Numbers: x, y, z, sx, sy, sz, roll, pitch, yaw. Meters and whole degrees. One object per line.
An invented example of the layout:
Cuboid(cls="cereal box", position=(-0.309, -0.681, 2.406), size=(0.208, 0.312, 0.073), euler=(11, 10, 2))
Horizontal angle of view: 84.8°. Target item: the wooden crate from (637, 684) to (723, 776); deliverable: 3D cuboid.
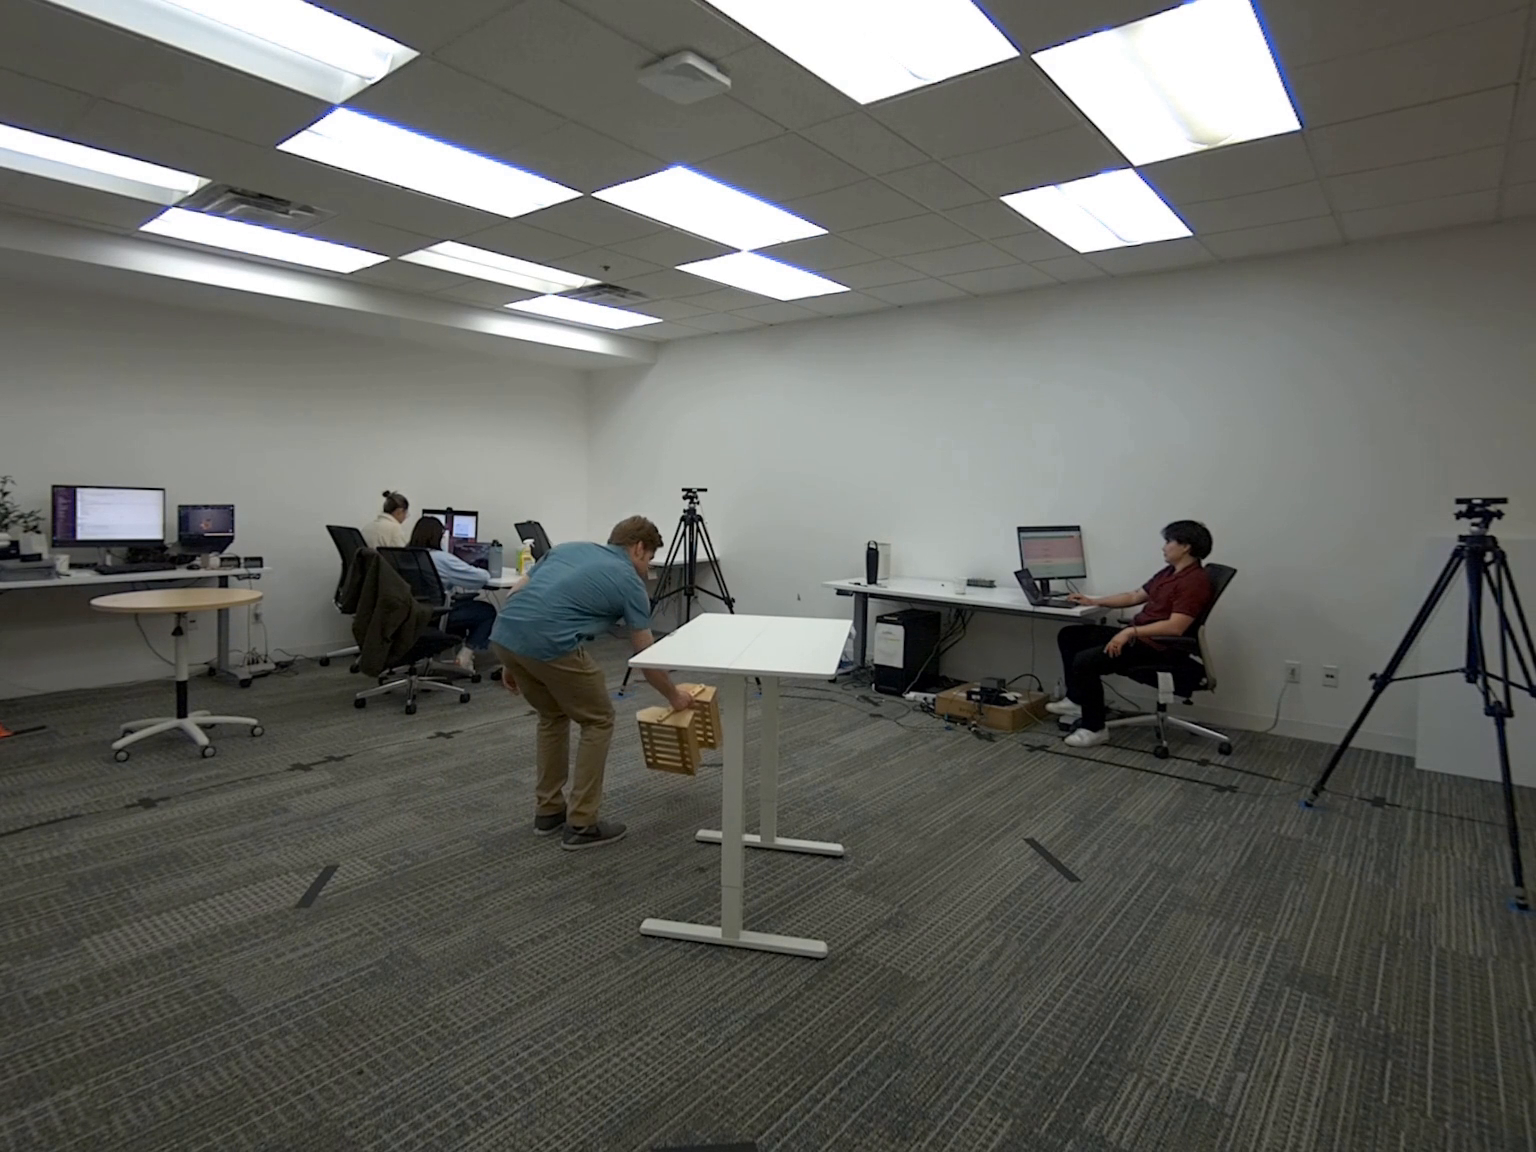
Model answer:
Cuboid(cls="wooden crate", position=(-0.417, 0.661, 3.819), size=(0.308, 0.315, 0.276), euler=(4, 35, 16))
